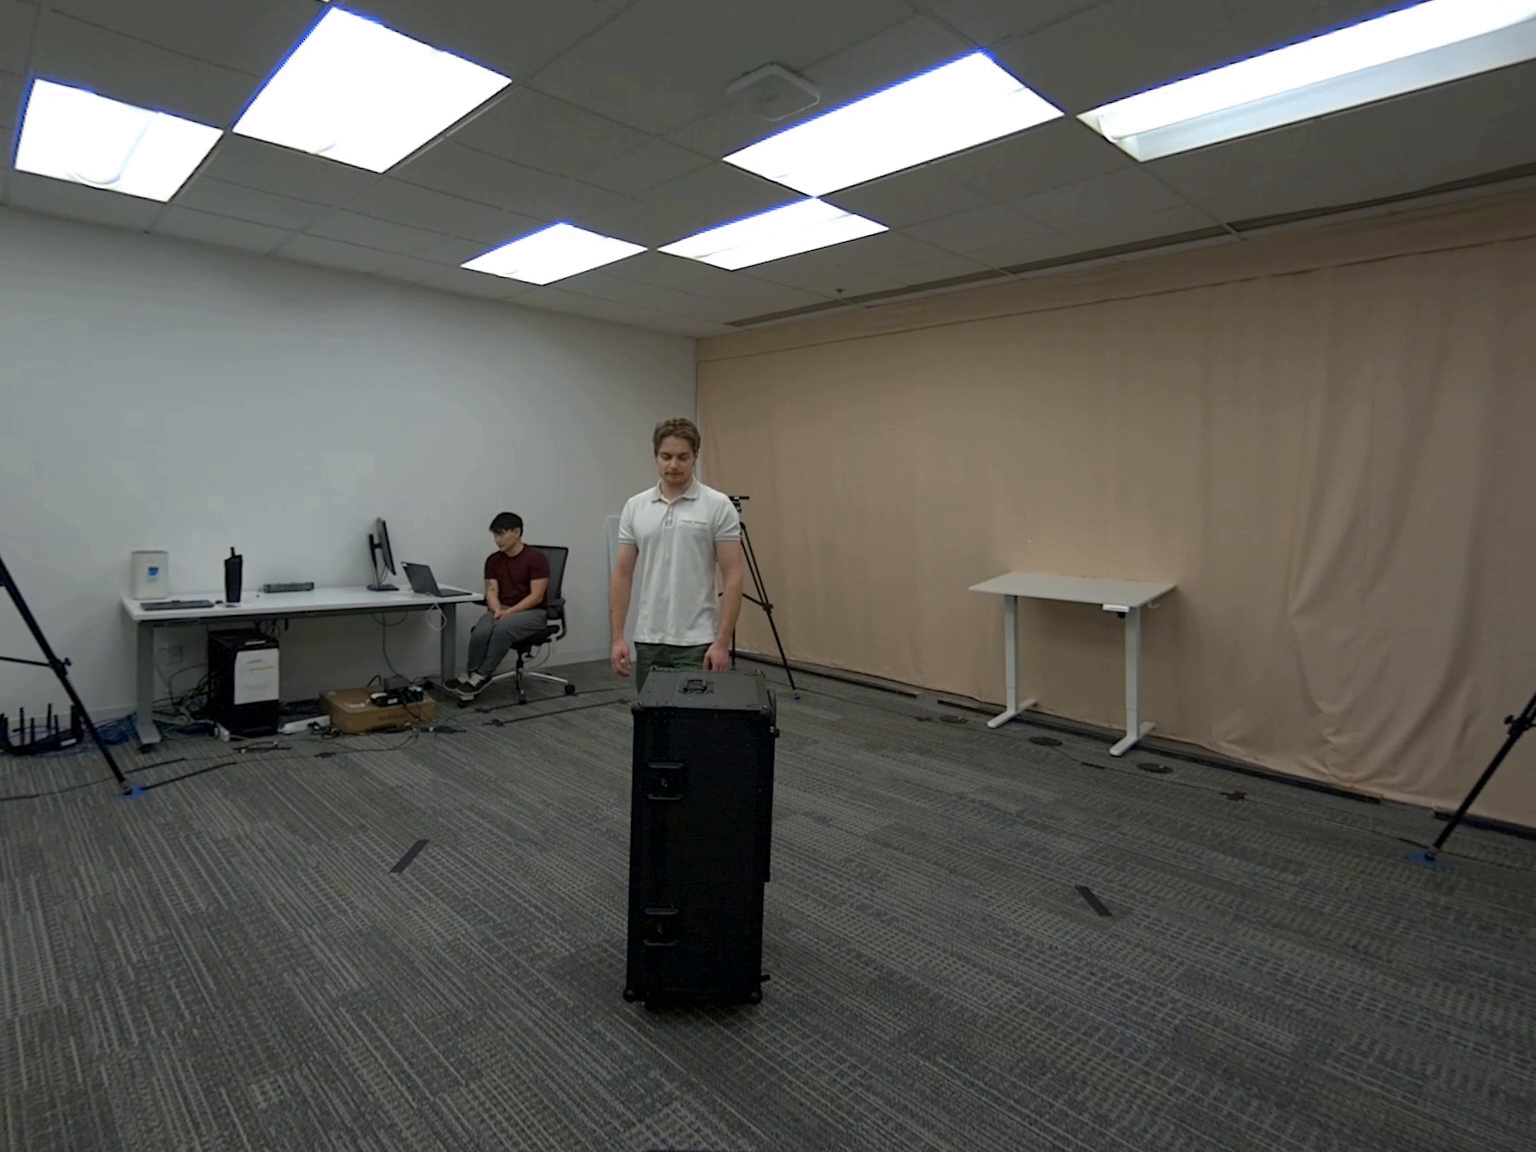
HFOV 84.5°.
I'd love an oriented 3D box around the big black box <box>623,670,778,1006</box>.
[{"bbox_3d":[-0.198,0.745,2.415,0.385,0.866,0.525,1,4,-2],"label":"big black box"}]
